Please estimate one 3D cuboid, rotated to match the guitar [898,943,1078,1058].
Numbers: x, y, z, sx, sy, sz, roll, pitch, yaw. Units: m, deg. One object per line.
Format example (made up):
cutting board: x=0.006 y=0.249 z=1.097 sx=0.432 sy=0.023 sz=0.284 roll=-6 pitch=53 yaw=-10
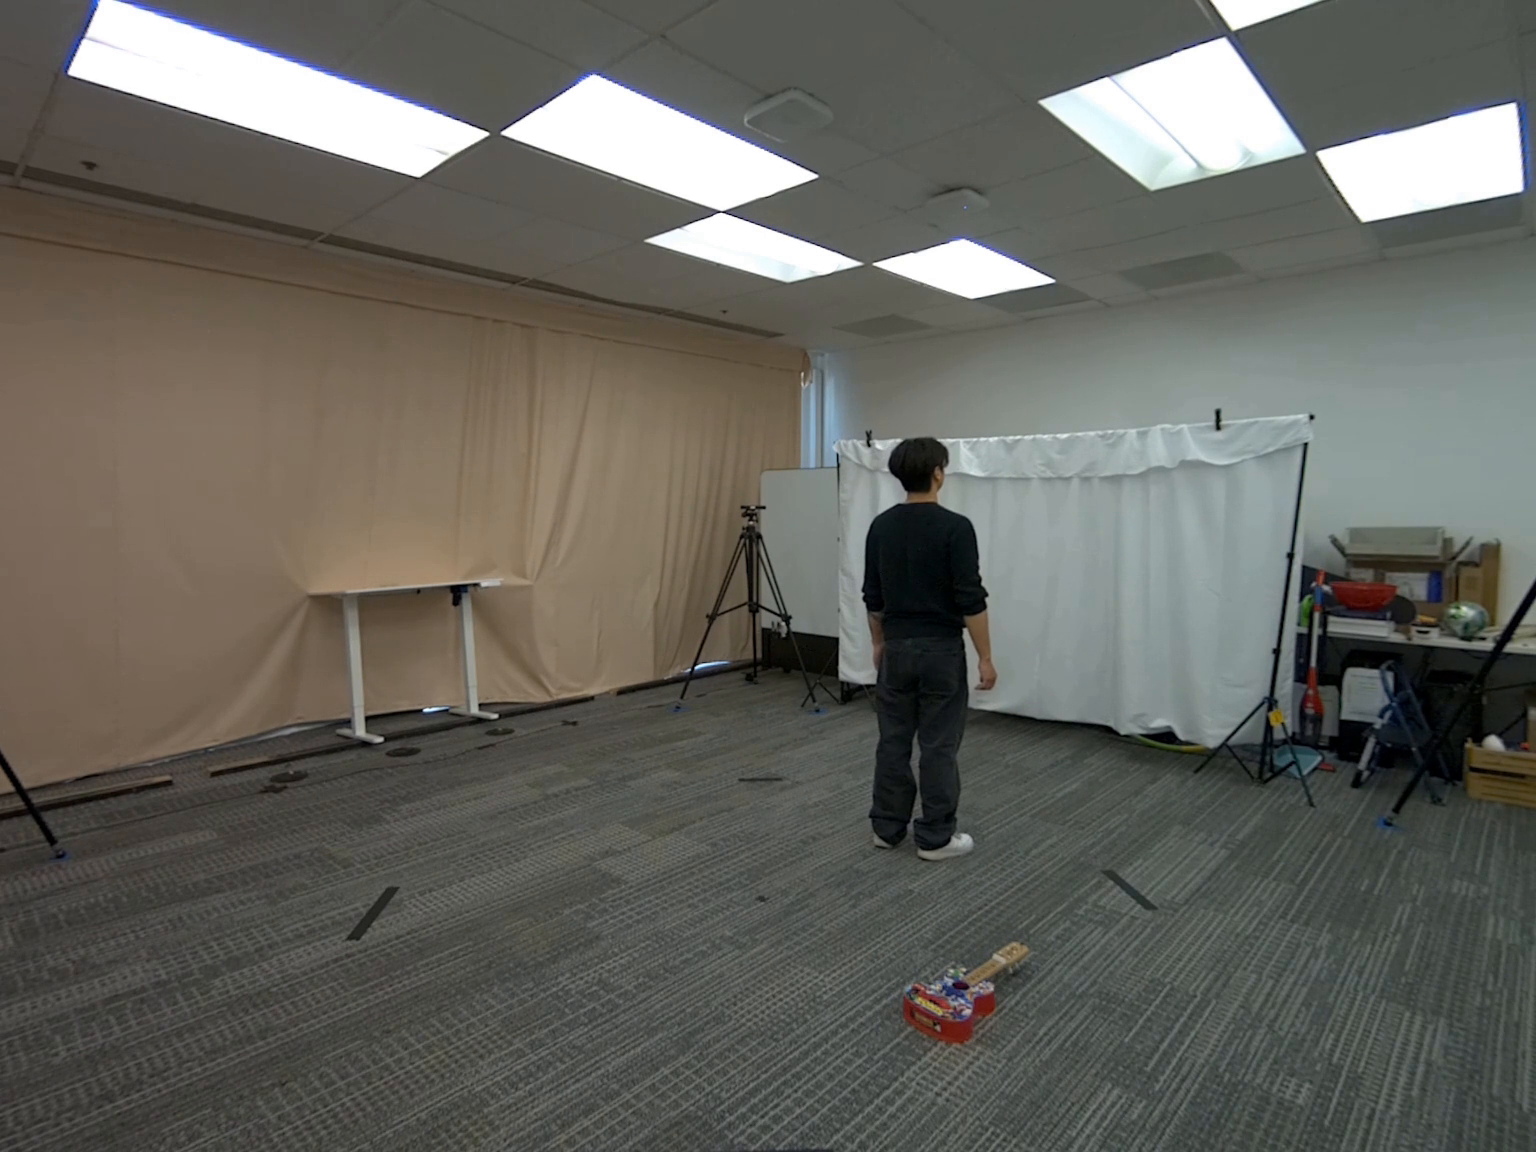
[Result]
guitar: x=0.616 y=1.165 z=2.357 sx=0.484 sy=0.070 sz=0.199 roll=-3 pitch=6 yaw=-32
